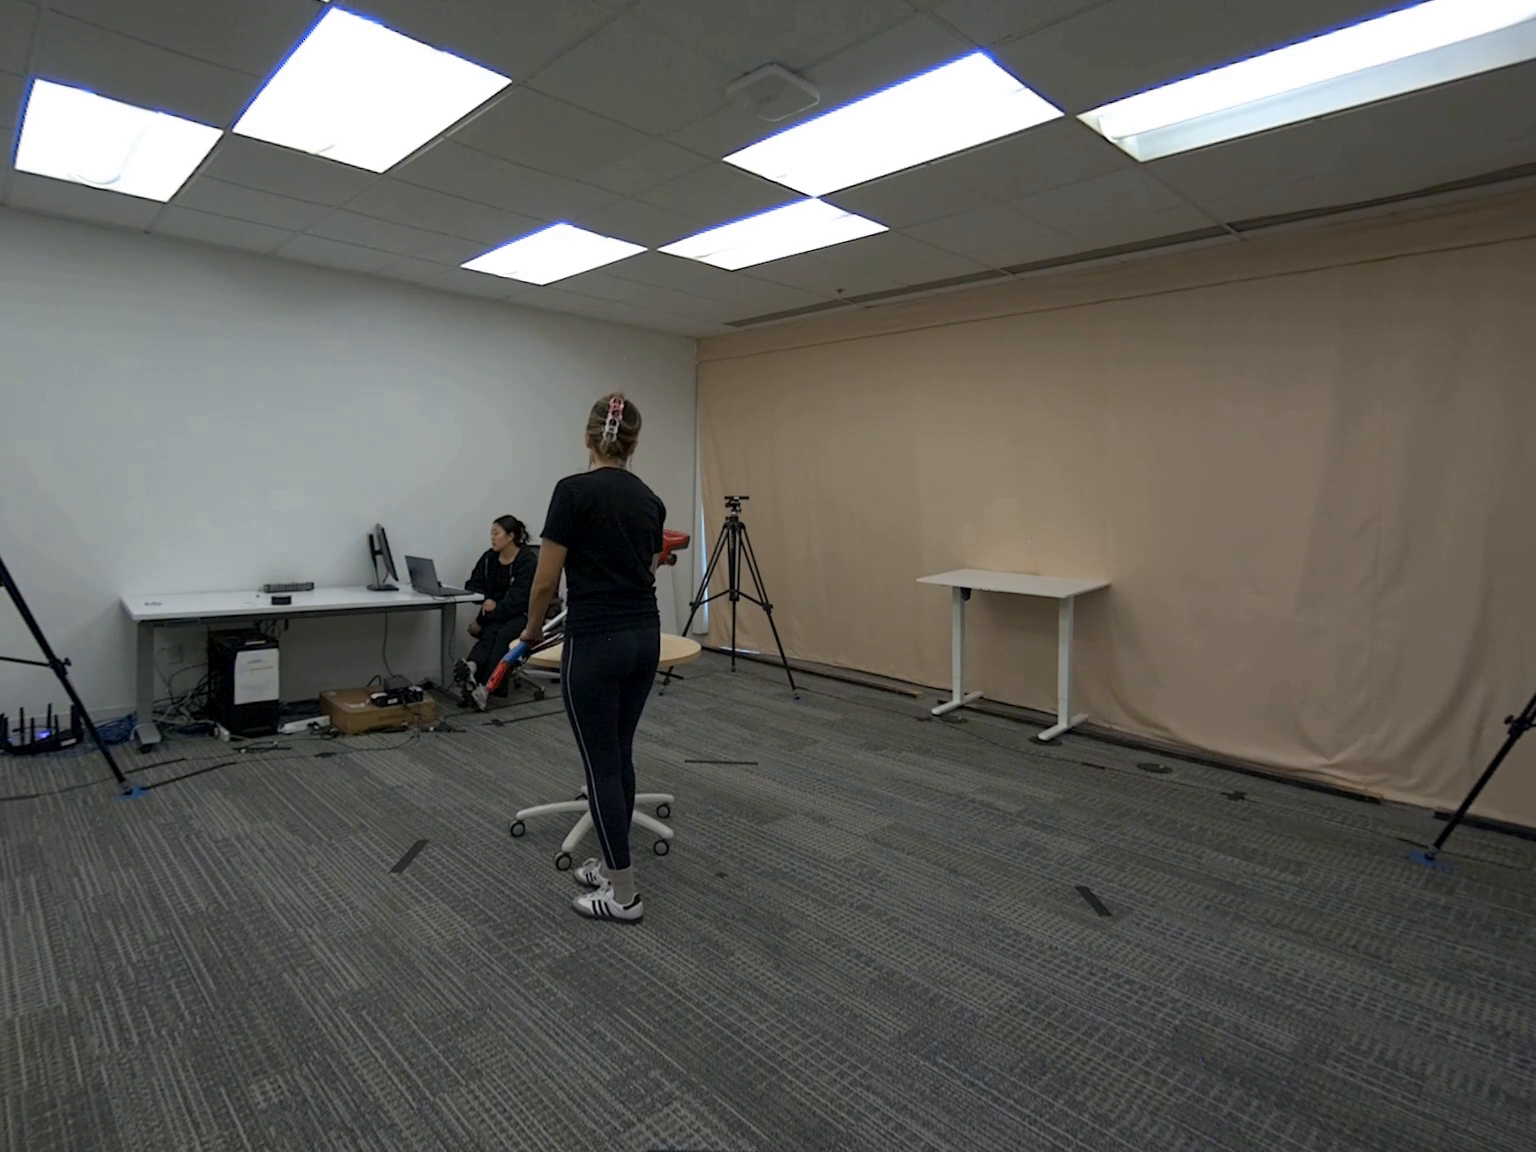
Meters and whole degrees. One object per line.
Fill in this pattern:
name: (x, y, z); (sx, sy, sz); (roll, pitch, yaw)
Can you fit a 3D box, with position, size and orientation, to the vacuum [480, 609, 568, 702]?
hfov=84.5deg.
vacuum: (-0.672, 0.121, 3.184); (0.258, 0.141, 1.047); (12, 35, 26)
